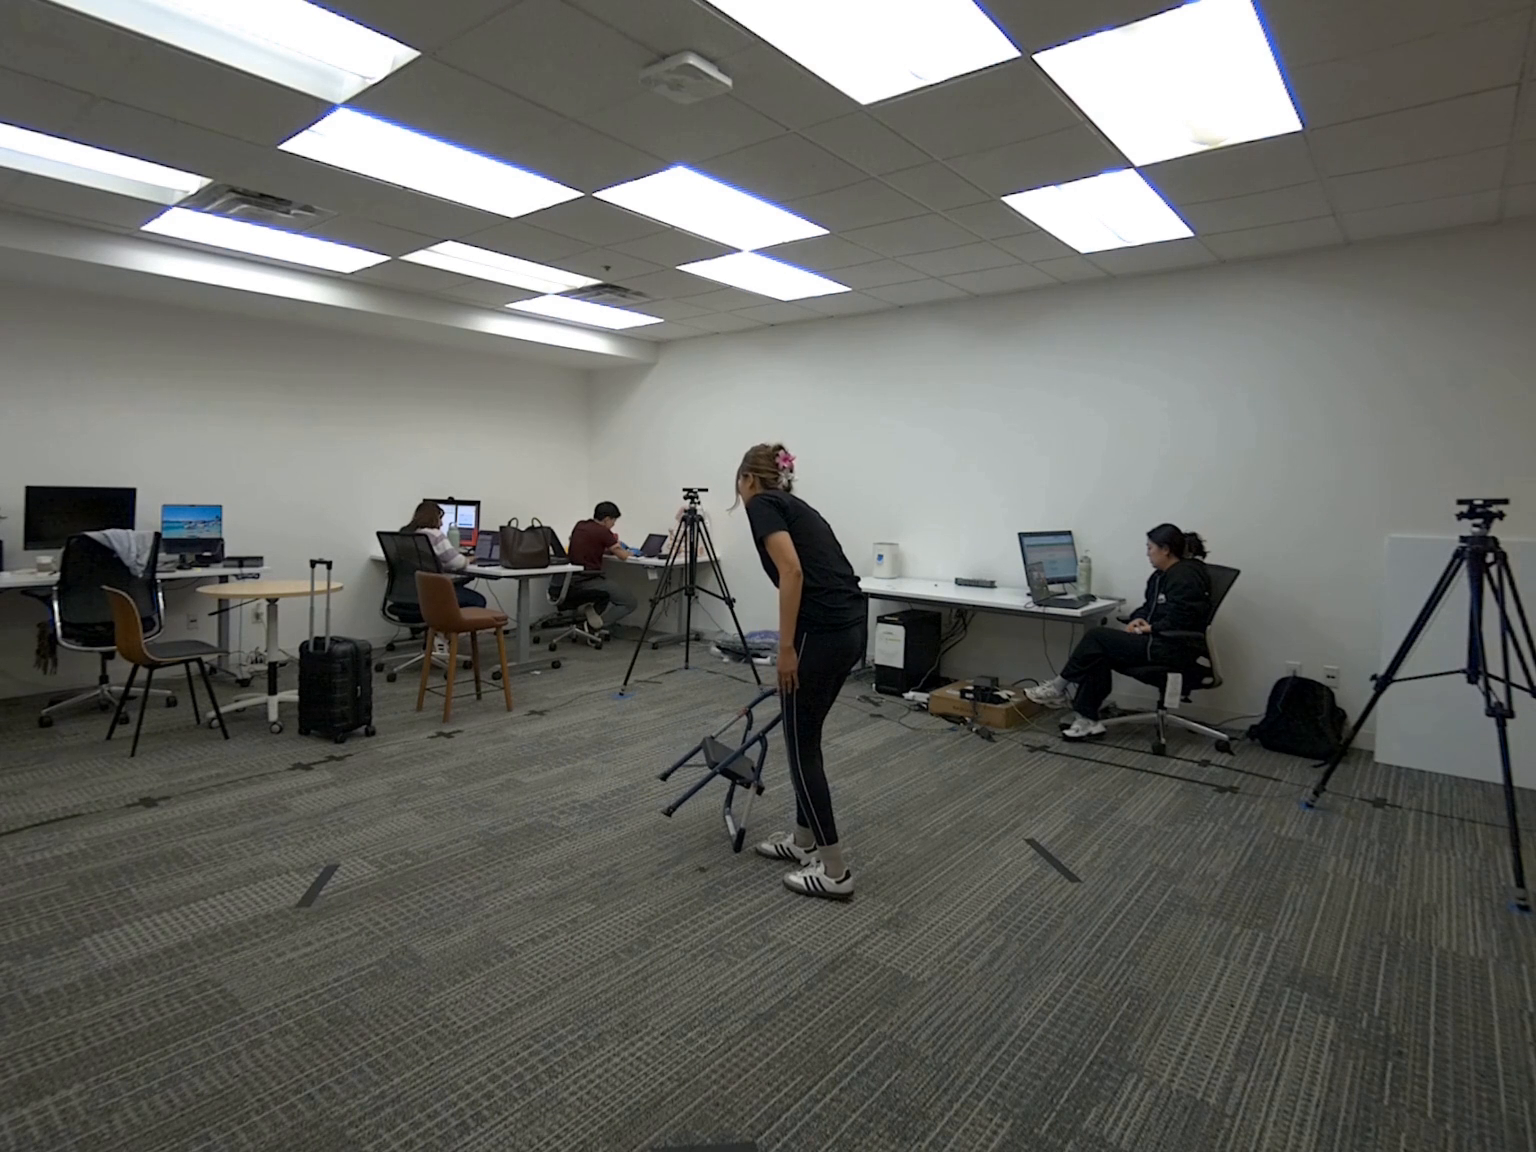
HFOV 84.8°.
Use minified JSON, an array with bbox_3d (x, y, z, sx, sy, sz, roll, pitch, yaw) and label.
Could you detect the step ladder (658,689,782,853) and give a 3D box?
[{"bbox_3d":[-0.148,0.700,3.440,0.345,0.606,0.436,30,0,-10],"label":"step ladder"}]
